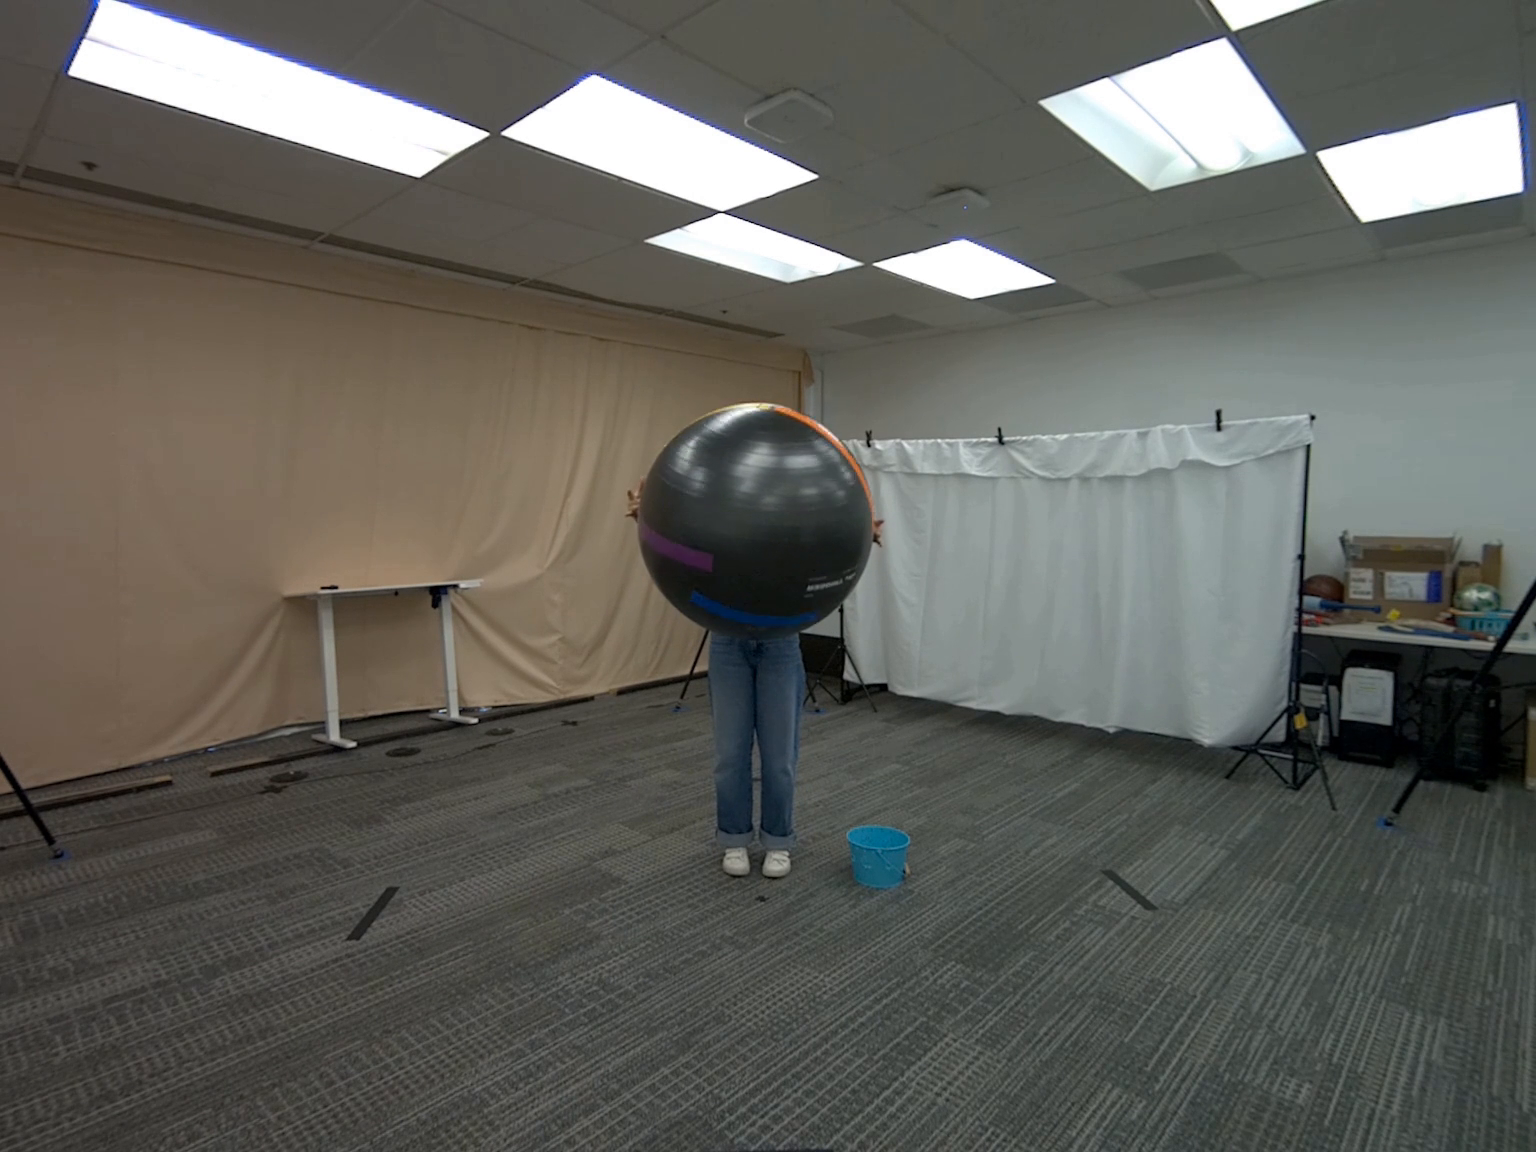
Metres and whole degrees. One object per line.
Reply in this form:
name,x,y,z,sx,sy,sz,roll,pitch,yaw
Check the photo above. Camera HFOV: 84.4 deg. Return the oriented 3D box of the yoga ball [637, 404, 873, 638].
yoga ball,-0.040,-0.171,2.720,0.757,0.756,0.760,0,4,-2
